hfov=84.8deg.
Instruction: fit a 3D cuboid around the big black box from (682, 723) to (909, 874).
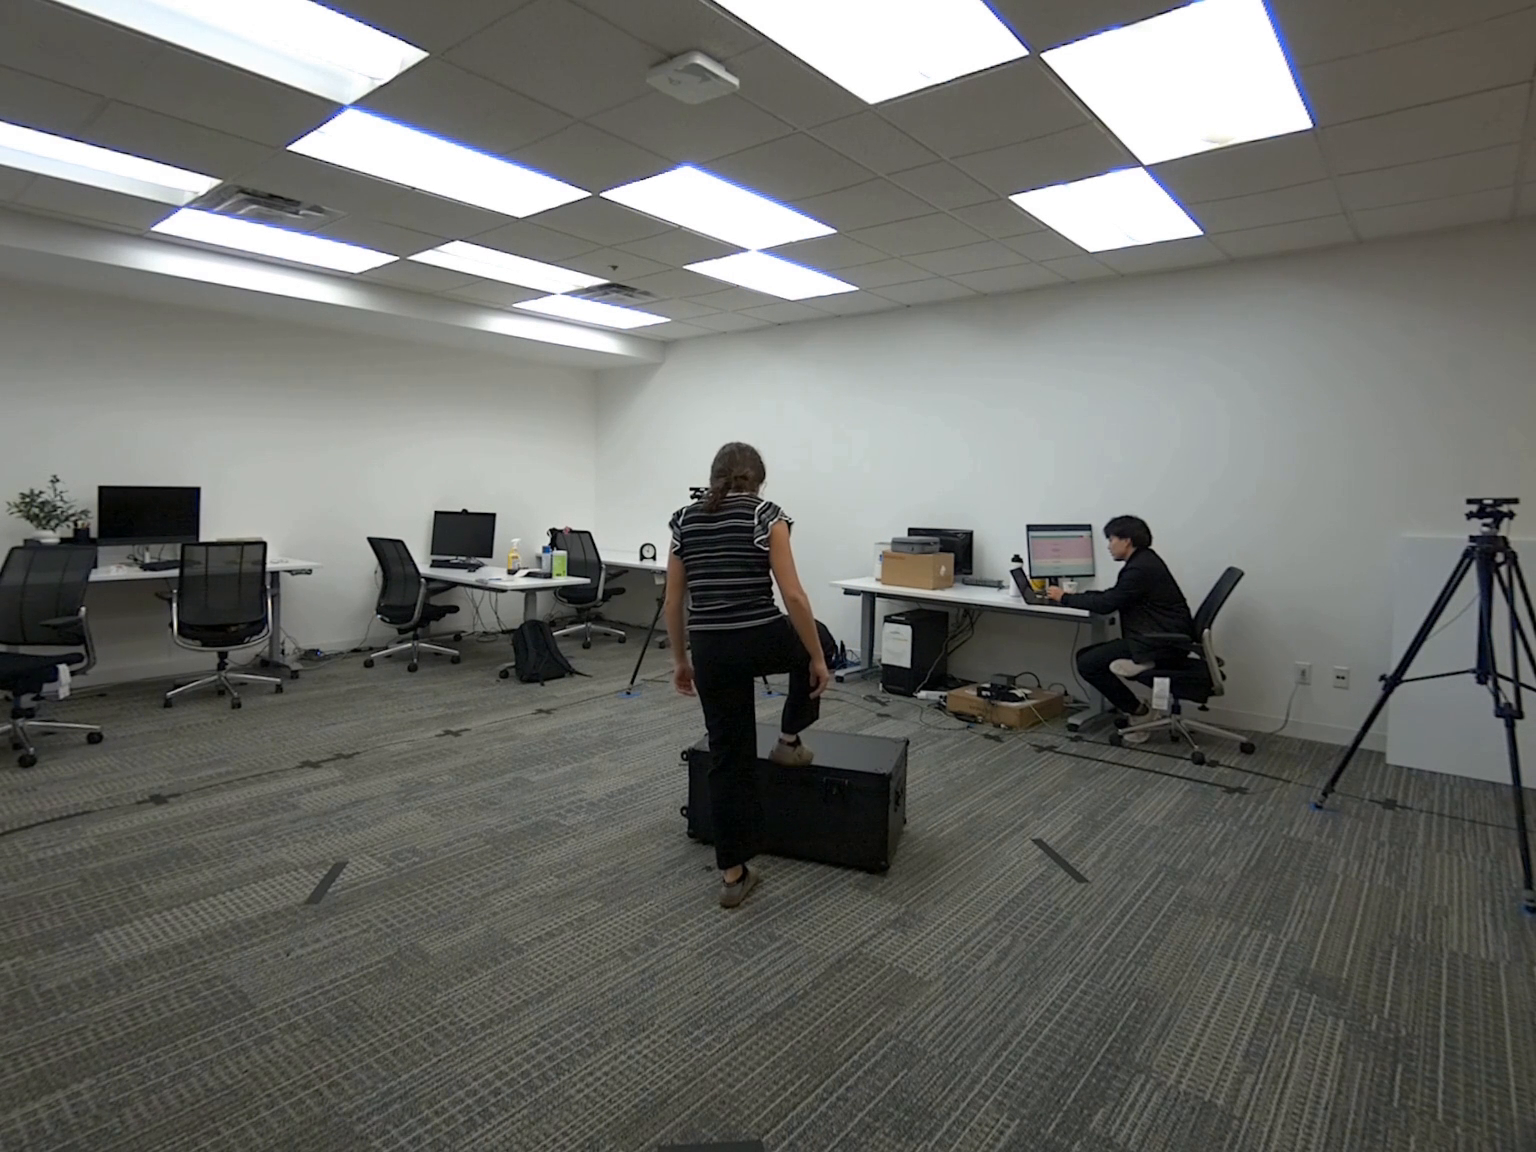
[{"bbox_3d":[0.089,0.849,3.425,0.879,0.394,0.513,3,6,19],"label":"big black box"}]
